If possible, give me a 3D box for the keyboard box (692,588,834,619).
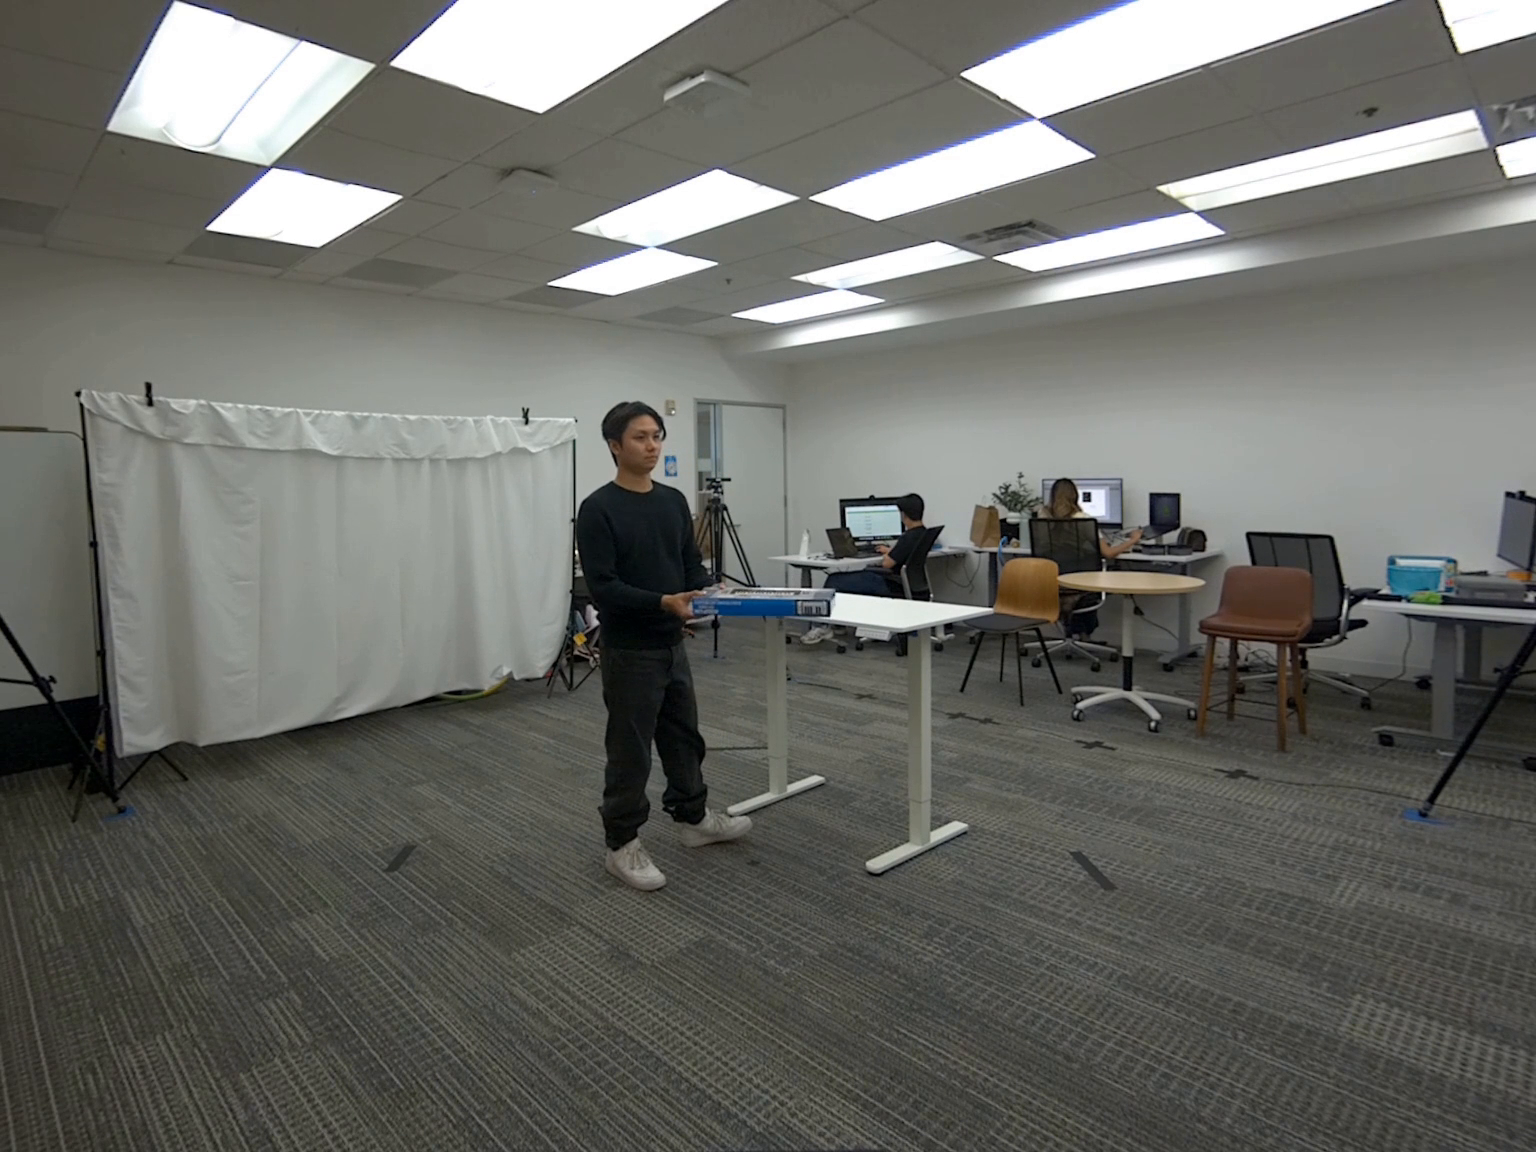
[{"bbox_3d":[-0.006,0.082,2.758,0.443,0.058,0.175,1,10,14],"label":"keyboard box"}]
